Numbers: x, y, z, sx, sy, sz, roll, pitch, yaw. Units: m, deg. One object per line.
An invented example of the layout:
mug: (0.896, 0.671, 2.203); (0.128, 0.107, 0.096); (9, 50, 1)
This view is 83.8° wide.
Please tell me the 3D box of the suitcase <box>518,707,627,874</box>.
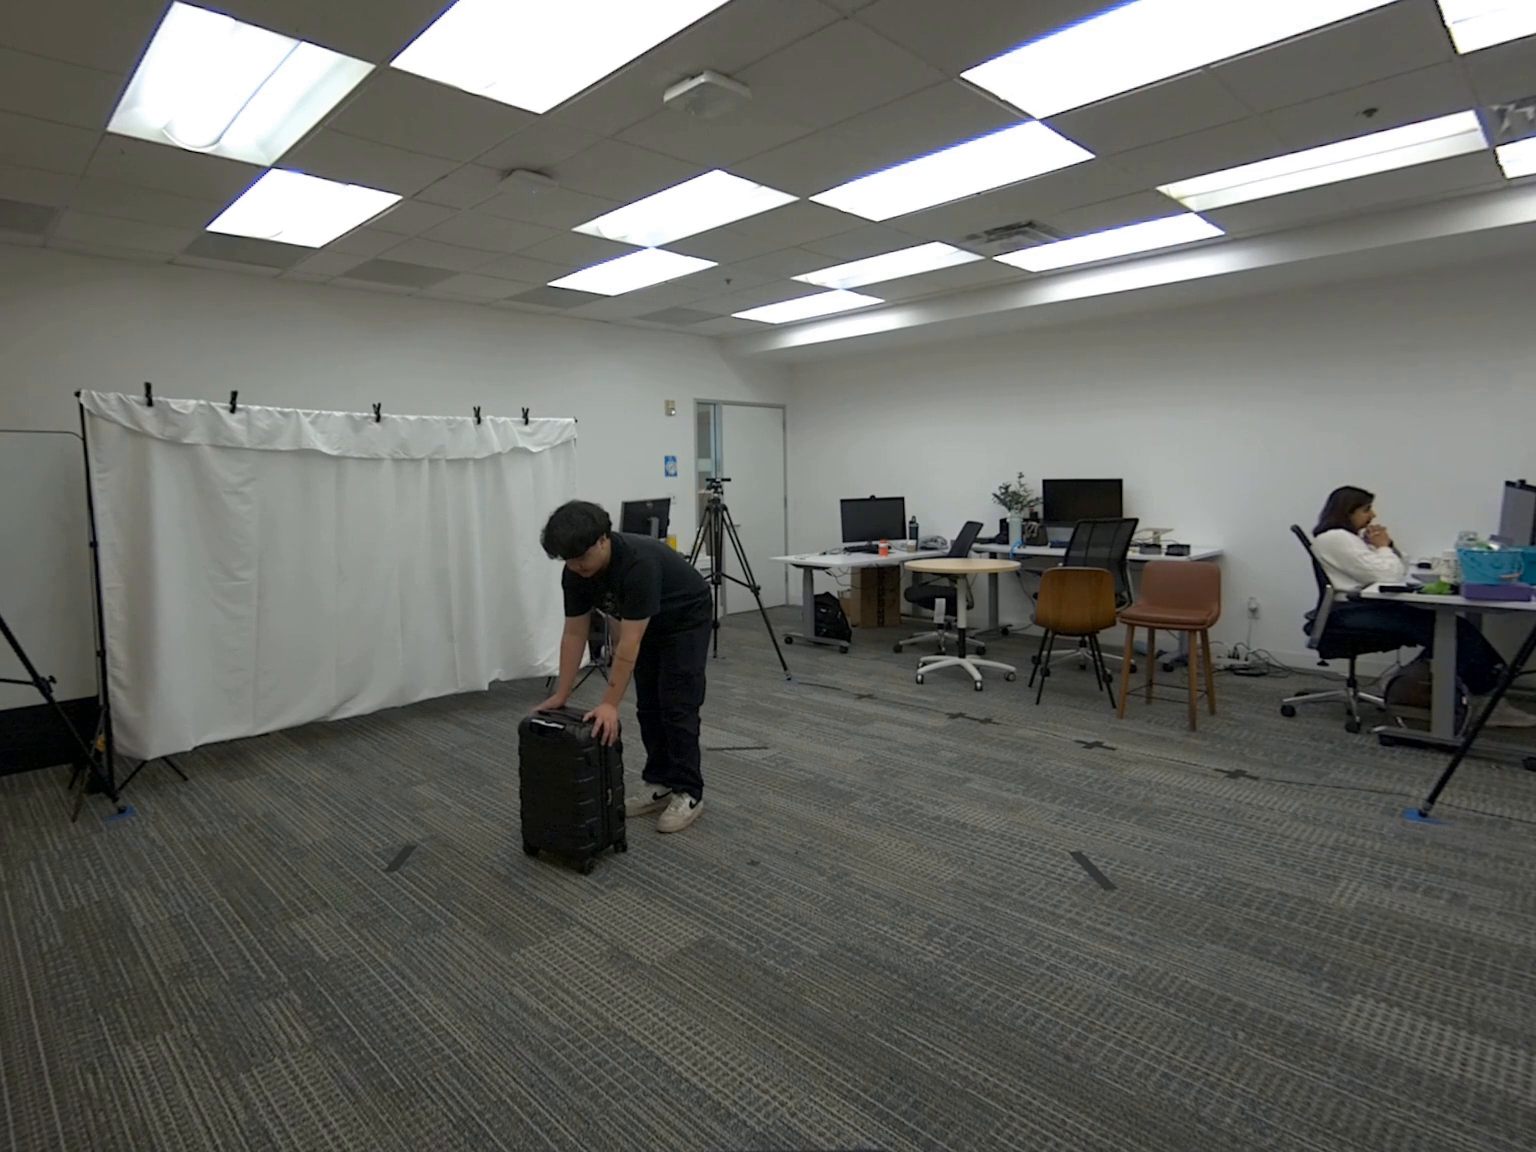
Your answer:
suitcase: (-0.736, 0.769, 3.181); (0.386, 0.547, 0.242); (2, 5, 35)
